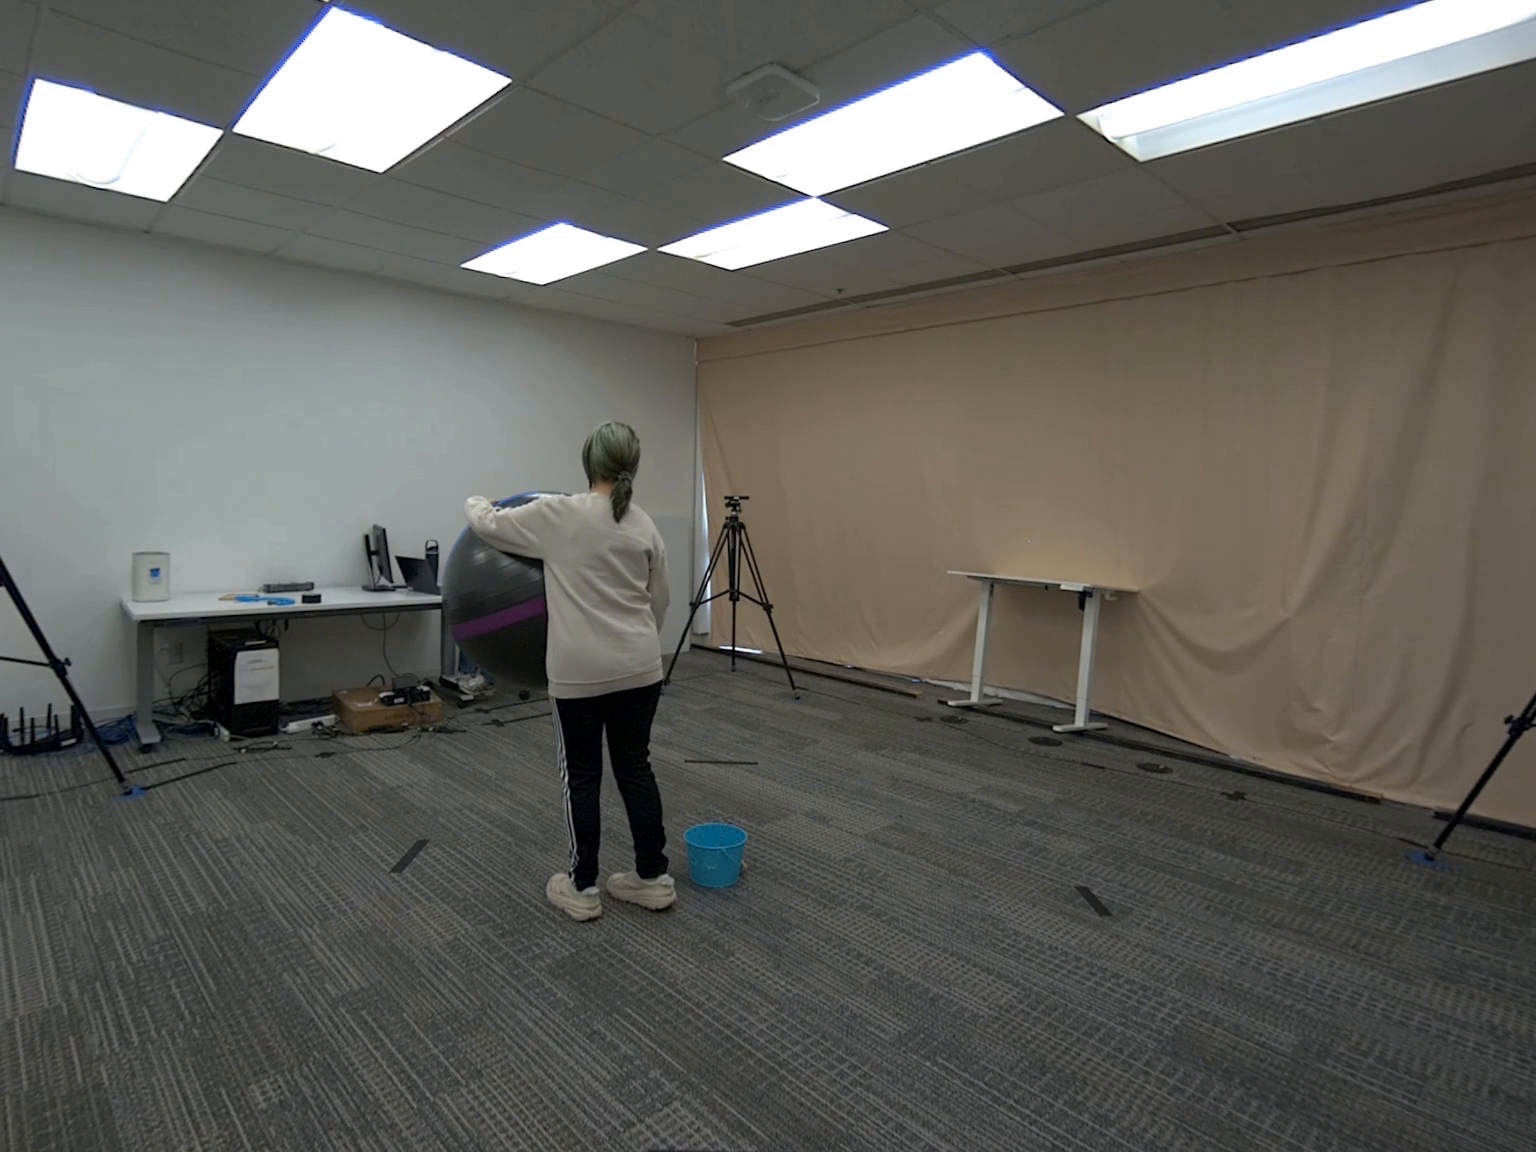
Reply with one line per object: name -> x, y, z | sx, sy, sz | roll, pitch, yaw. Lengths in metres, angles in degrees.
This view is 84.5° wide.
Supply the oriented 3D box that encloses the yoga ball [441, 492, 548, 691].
yoga ball -> -0.879, 0.065, 3.242 | 0.757, 0.756, 0.761 | 1, 4, -1
